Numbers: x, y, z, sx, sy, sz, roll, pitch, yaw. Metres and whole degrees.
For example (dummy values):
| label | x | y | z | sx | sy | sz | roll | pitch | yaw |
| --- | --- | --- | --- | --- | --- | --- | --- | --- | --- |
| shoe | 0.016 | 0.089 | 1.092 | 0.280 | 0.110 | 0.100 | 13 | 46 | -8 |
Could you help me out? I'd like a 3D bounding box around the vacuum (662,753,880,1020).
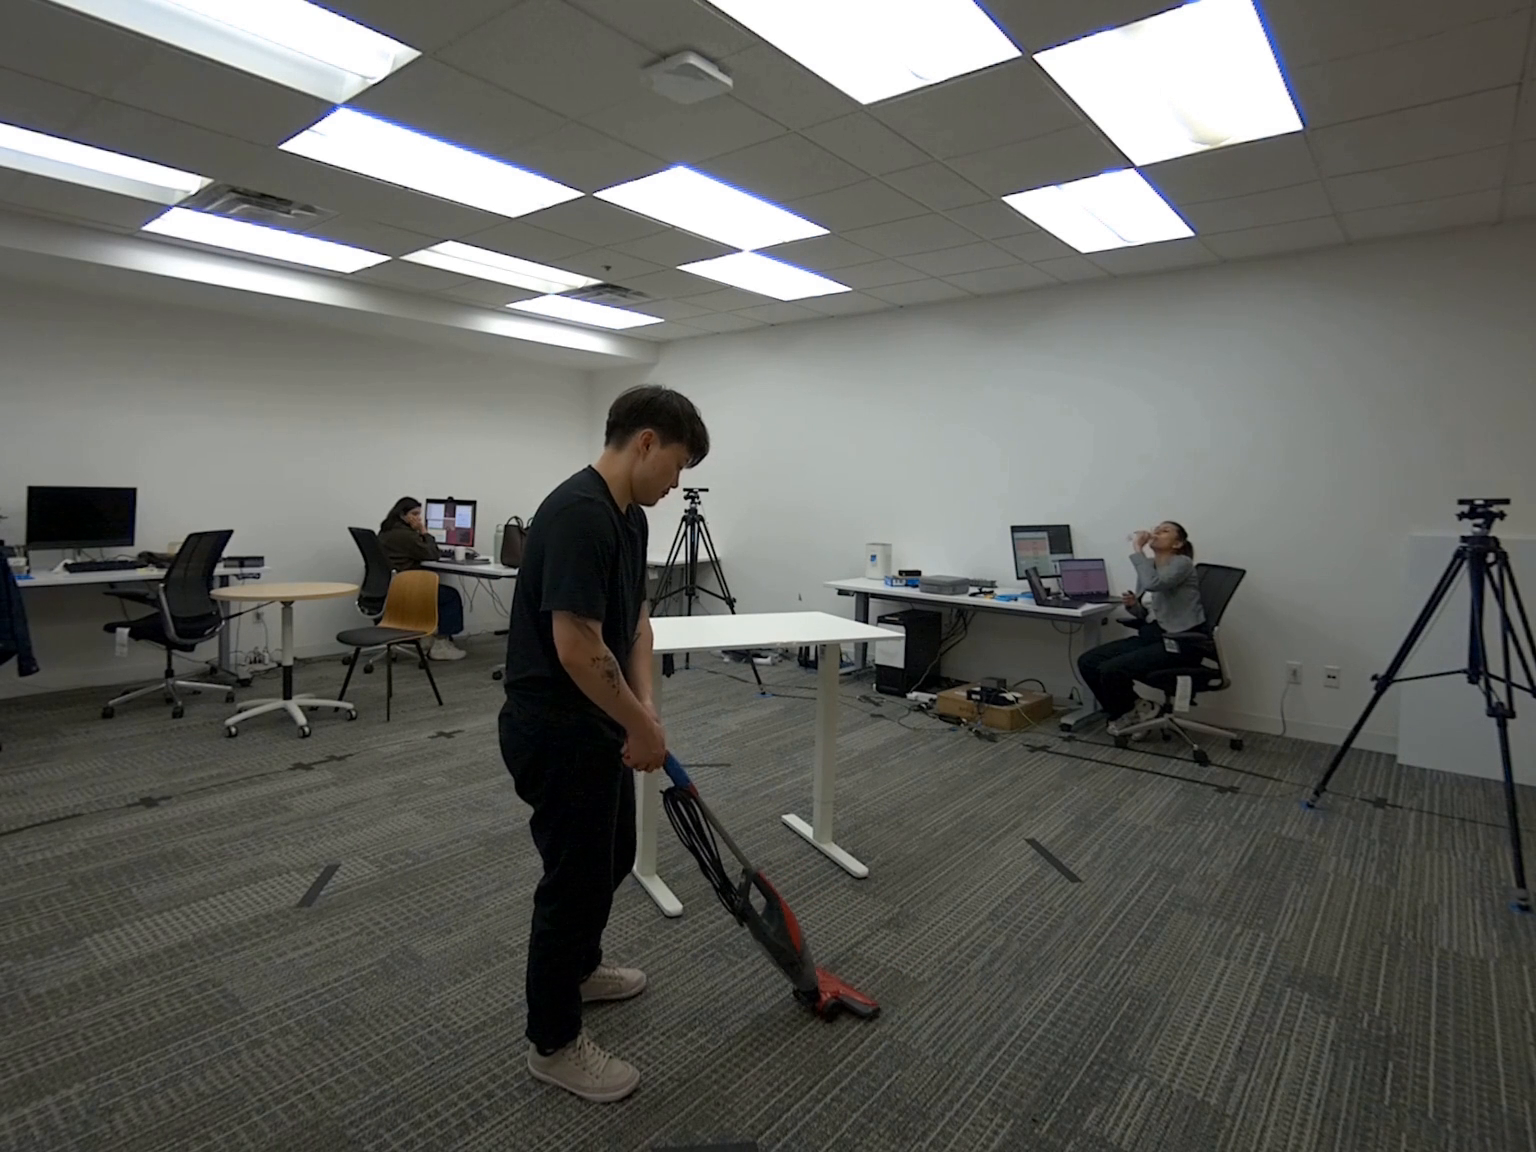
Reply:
| label | x | y | z | sx | sy | sz | roll | pitch | yaw |
| --- | --- | --- | --- | --- | --- | --- | --- | --- | --- |
| vacuum | -0.060 | 0.773 | 2.082 | 0.261 | 1.014 | 0.144 | 8 | 48 | 49 |
